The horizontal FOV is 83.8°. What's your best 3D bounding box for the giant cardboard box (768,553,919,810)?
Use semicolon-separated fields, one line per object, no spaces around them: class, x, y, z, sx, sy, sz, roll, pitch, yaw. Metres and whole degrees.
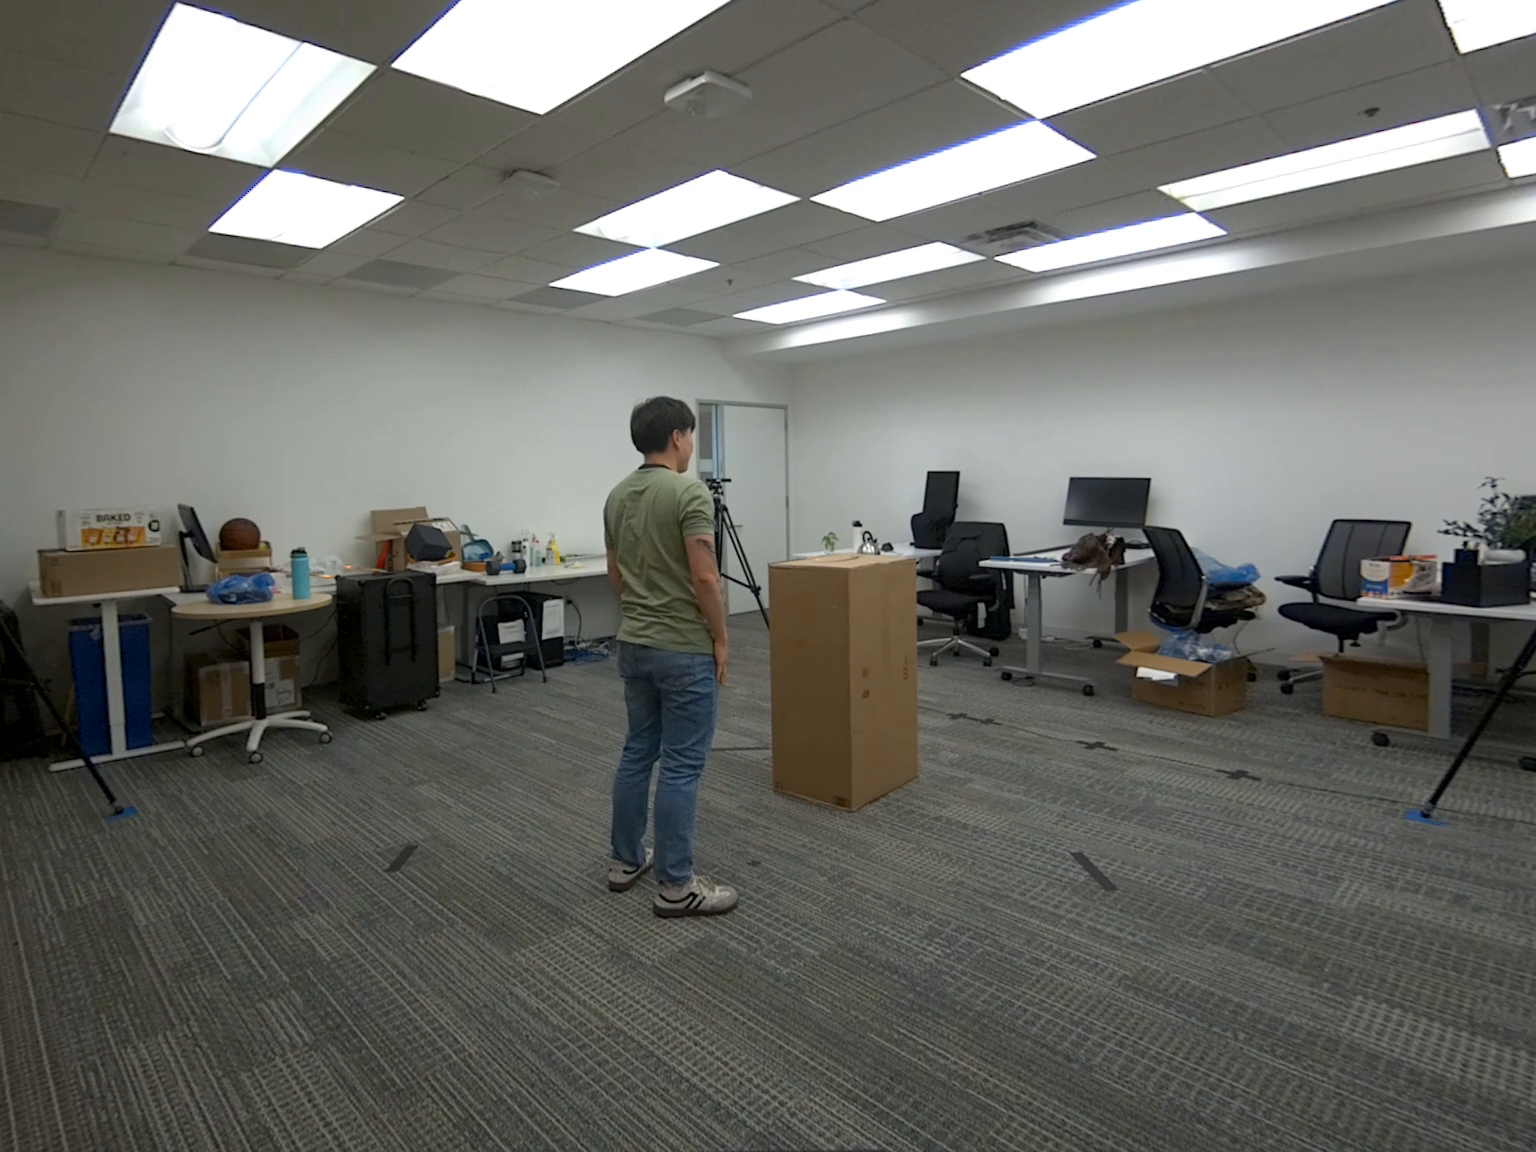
giant cardboard box;0.346;0.440;3.876;0.439;1.022;0.562;2;5;40
